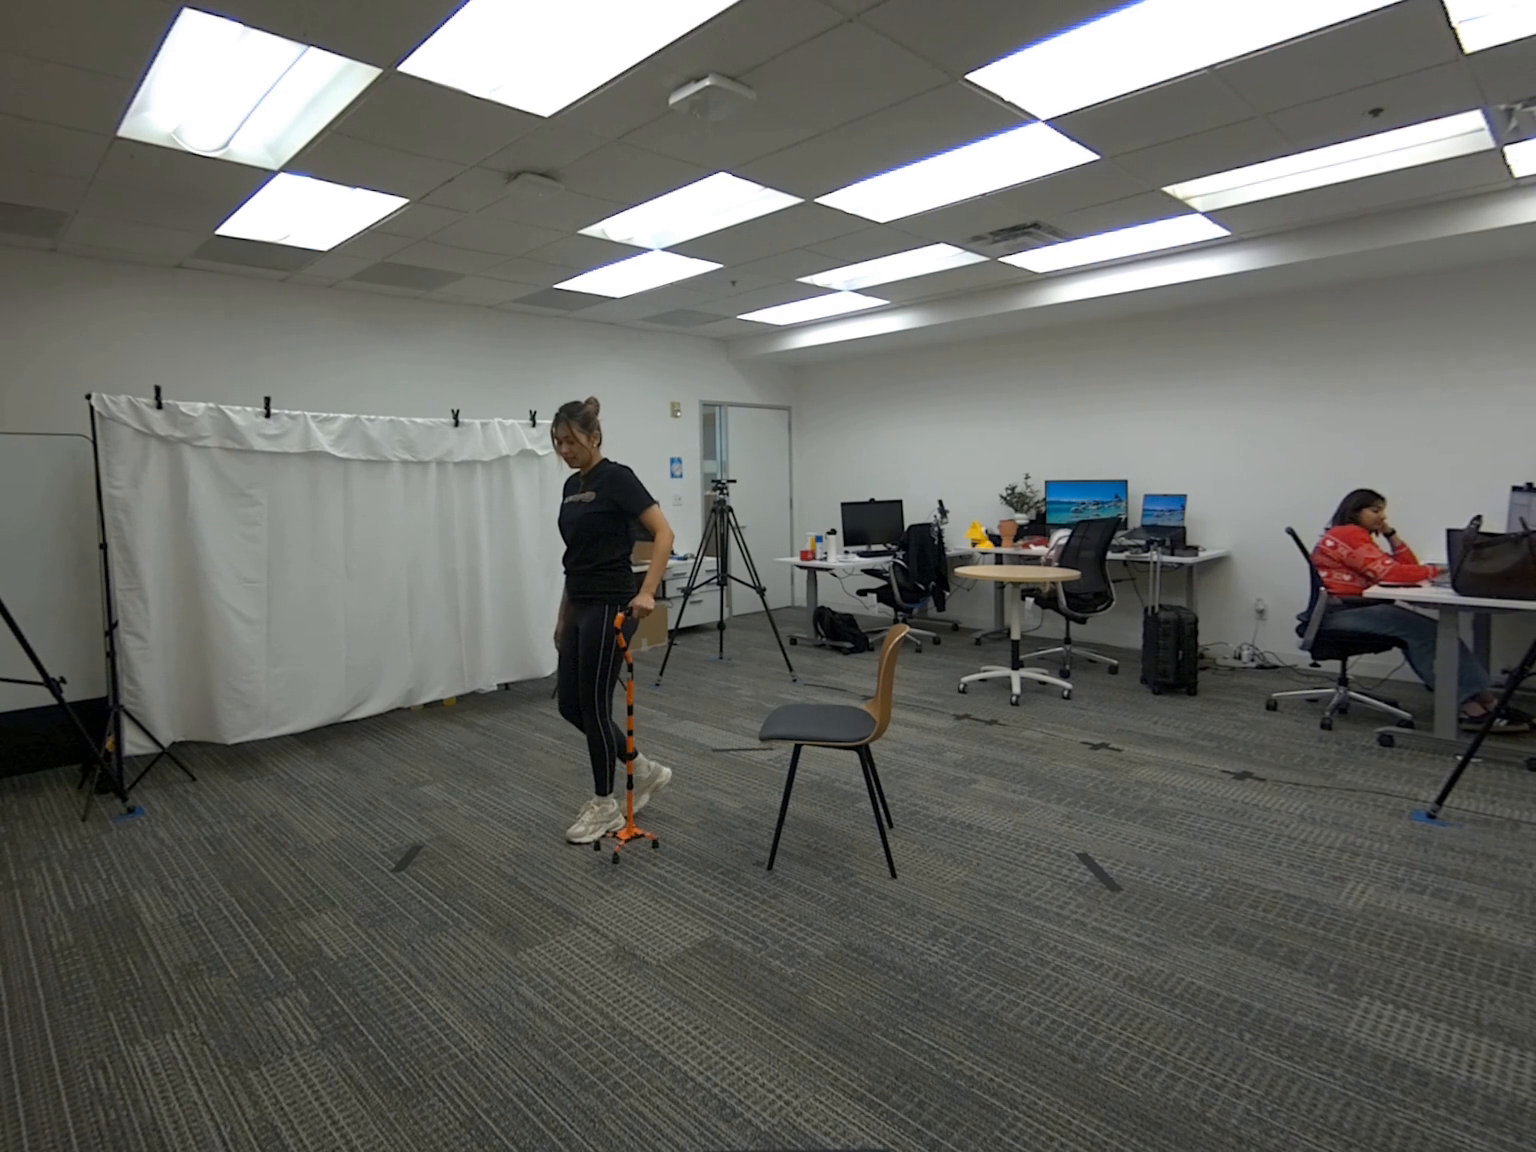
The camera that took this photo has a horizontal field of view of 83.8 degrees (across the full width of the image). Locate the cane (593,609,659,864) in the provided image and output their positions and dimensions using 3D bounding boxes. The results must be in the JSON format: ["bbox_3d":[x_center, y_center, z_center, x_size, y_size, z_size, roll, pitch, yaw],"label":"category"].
[{"bbox_3d":[-0.516,0.567,3.104,0.156,0.902,0.201,8,9,43],"label":"cane"}]
